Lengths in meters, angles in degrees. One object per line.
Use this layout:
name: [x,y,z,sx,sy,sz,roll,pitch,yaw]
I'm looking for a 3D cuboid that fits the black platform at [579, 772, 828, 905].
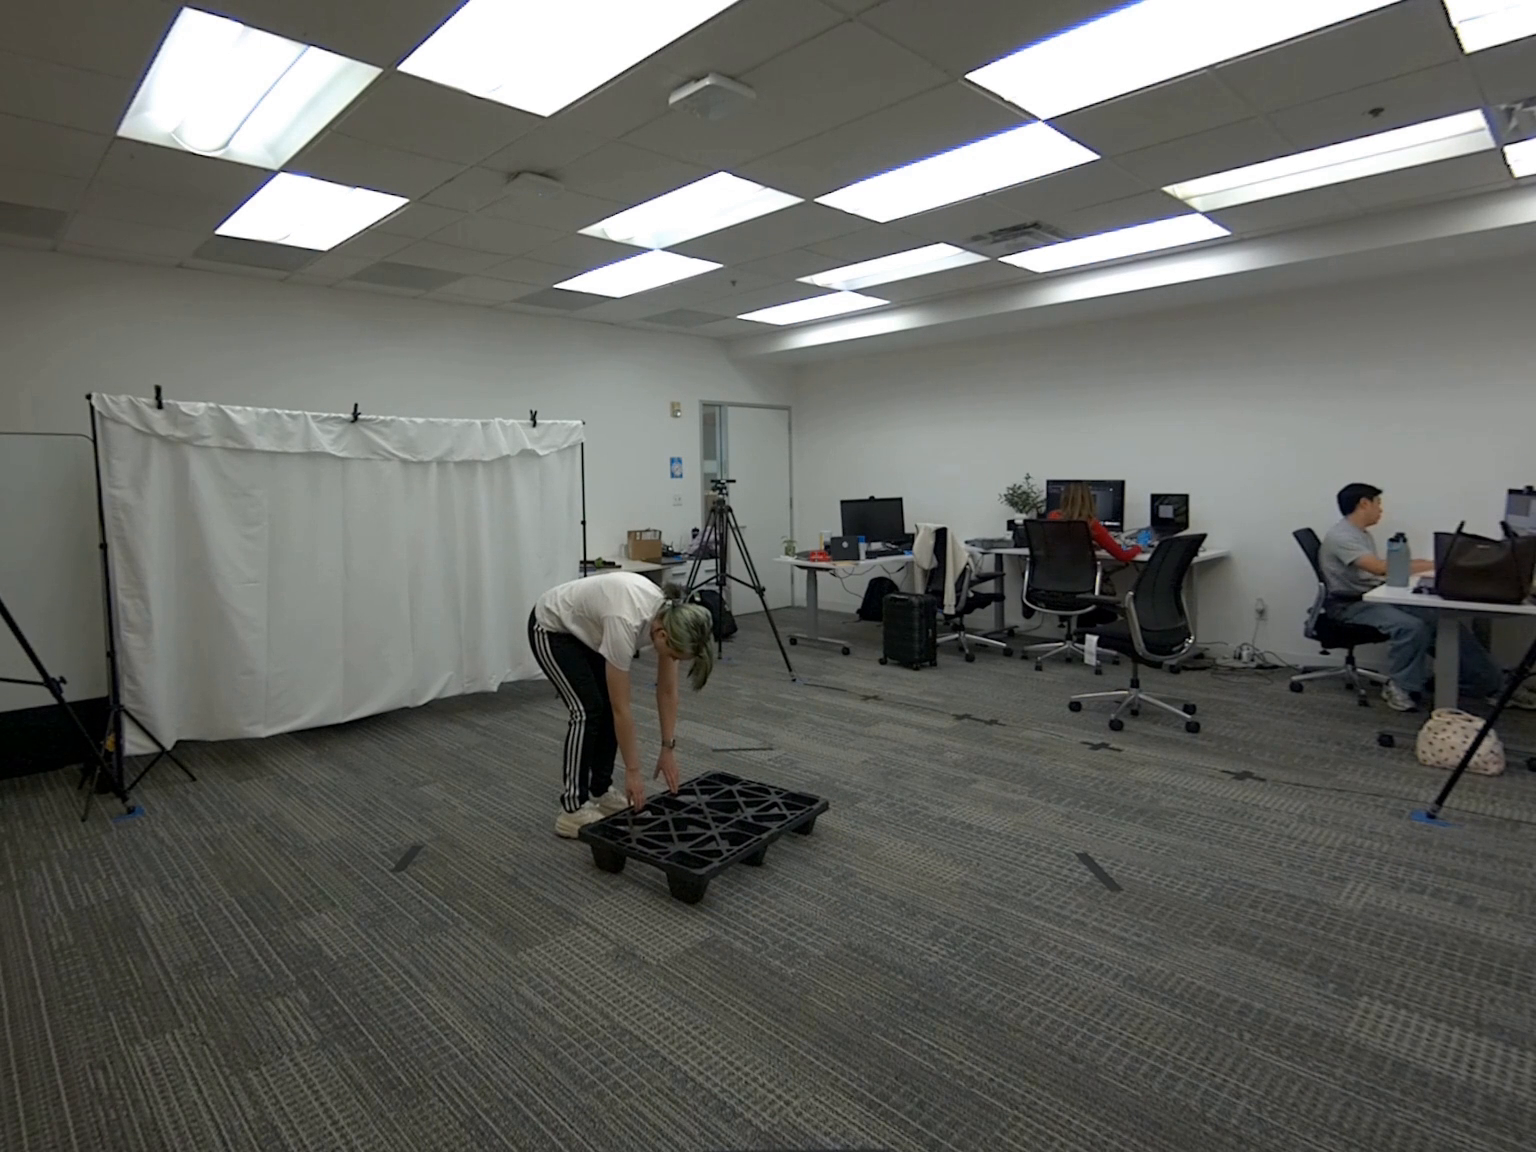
black platform: [-0.225,0.969,3.232,0.623,0.143,0.786,3,7,37]
